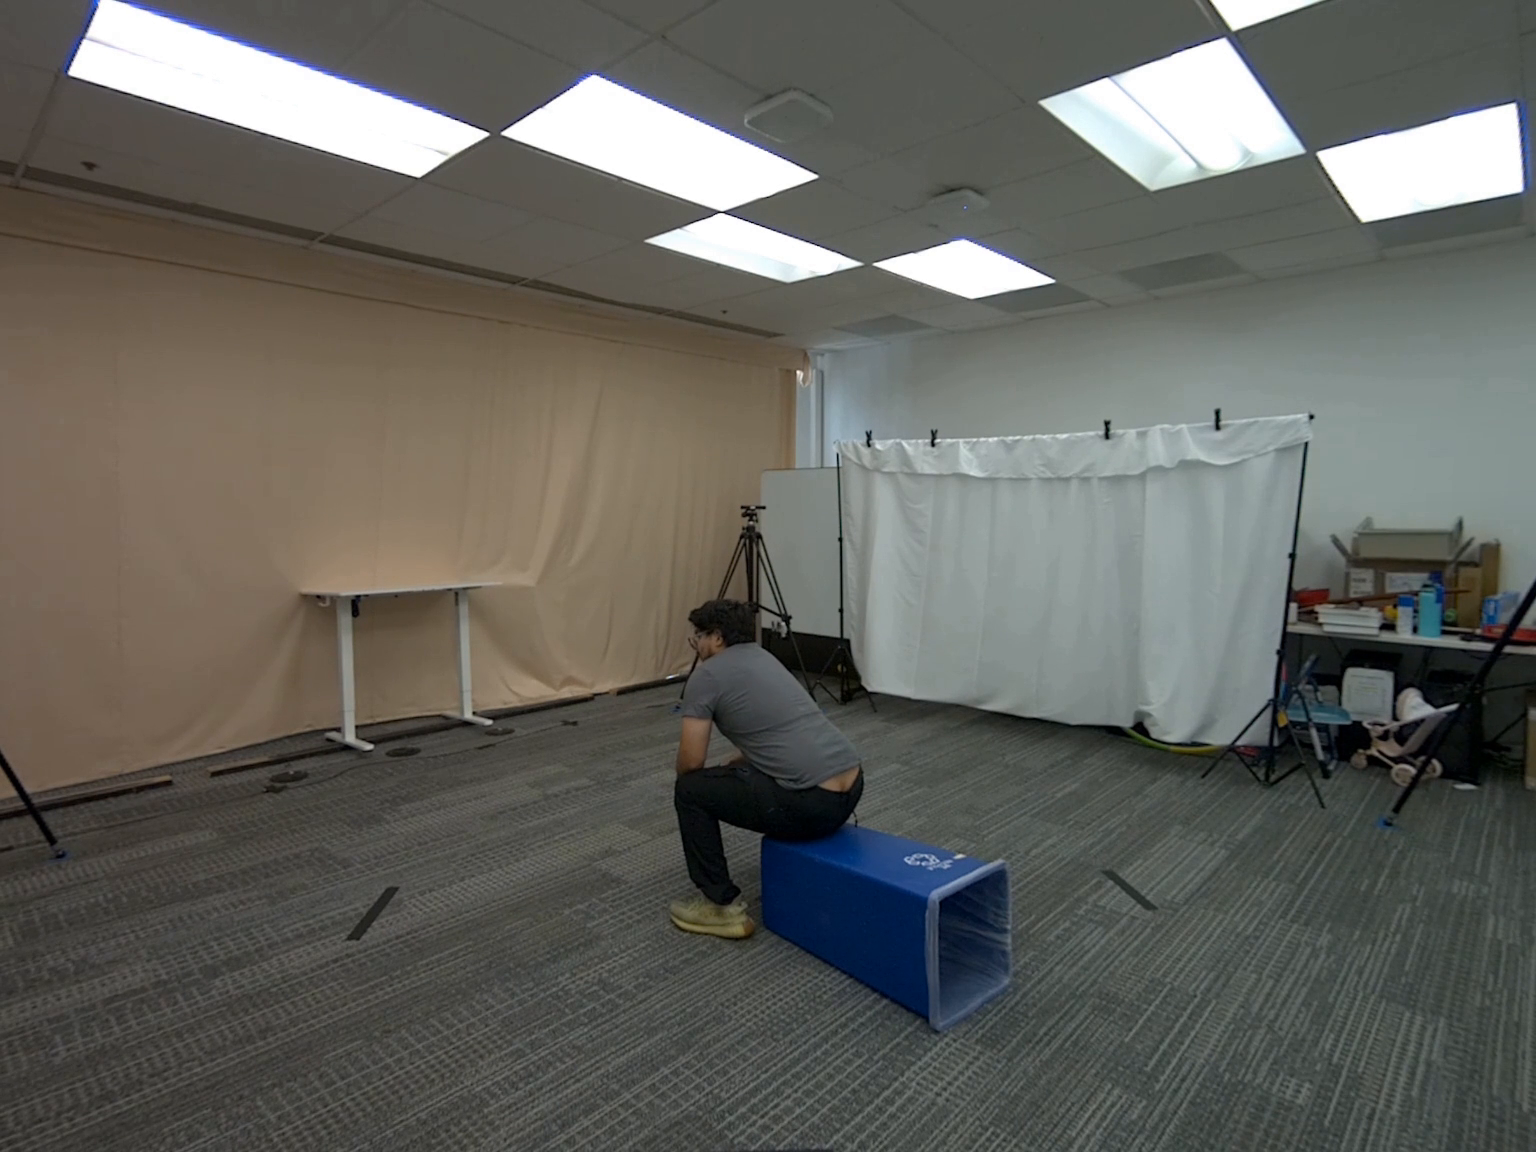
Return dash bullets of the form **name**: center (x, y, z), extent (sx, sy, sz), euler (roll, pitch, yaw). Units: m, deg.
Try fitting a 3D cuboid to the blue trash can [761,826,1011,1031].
- **blue trash can**: center (0.338, 1.000, 2.588), extent (0.366, 0.373, 0.737), euler (-3, 4, -42)
